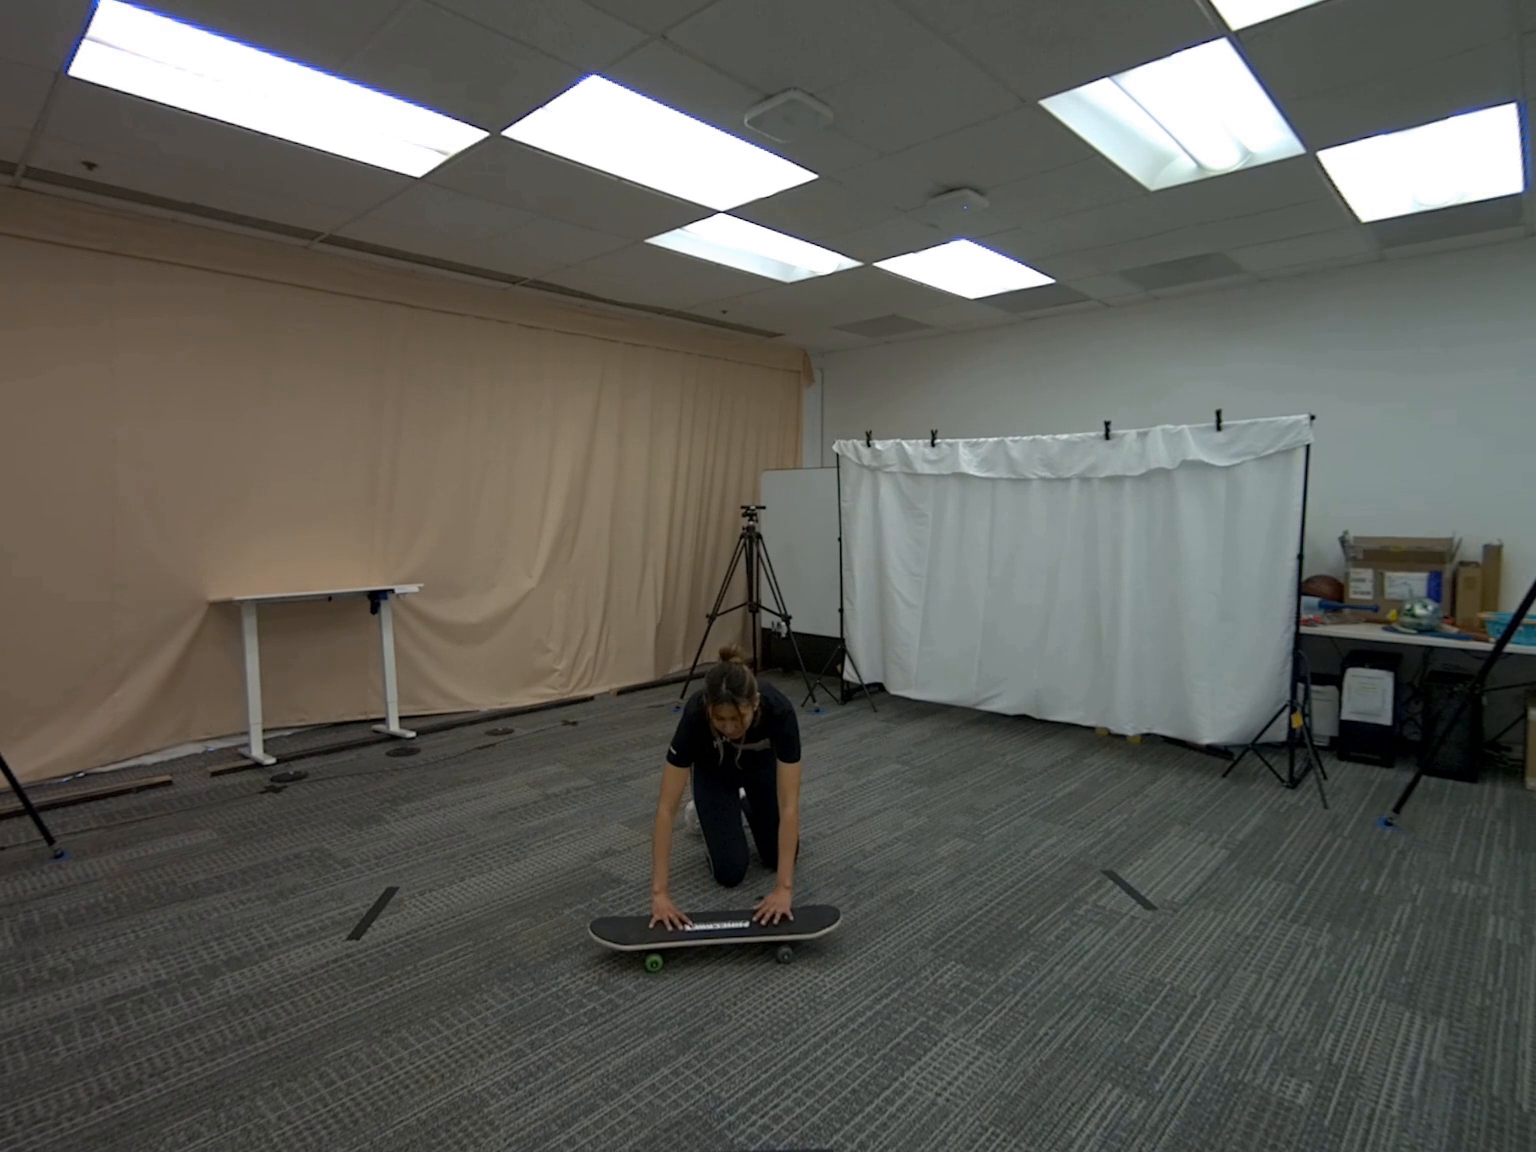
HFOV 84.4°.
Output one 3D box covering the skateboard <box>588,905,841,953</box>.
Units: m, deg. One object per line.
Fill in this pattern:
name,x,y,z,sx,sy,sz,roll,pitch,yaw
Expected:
skateboard,-0.156,1.113,2.620,0.780,0.110,0.195,-1,4,-6
